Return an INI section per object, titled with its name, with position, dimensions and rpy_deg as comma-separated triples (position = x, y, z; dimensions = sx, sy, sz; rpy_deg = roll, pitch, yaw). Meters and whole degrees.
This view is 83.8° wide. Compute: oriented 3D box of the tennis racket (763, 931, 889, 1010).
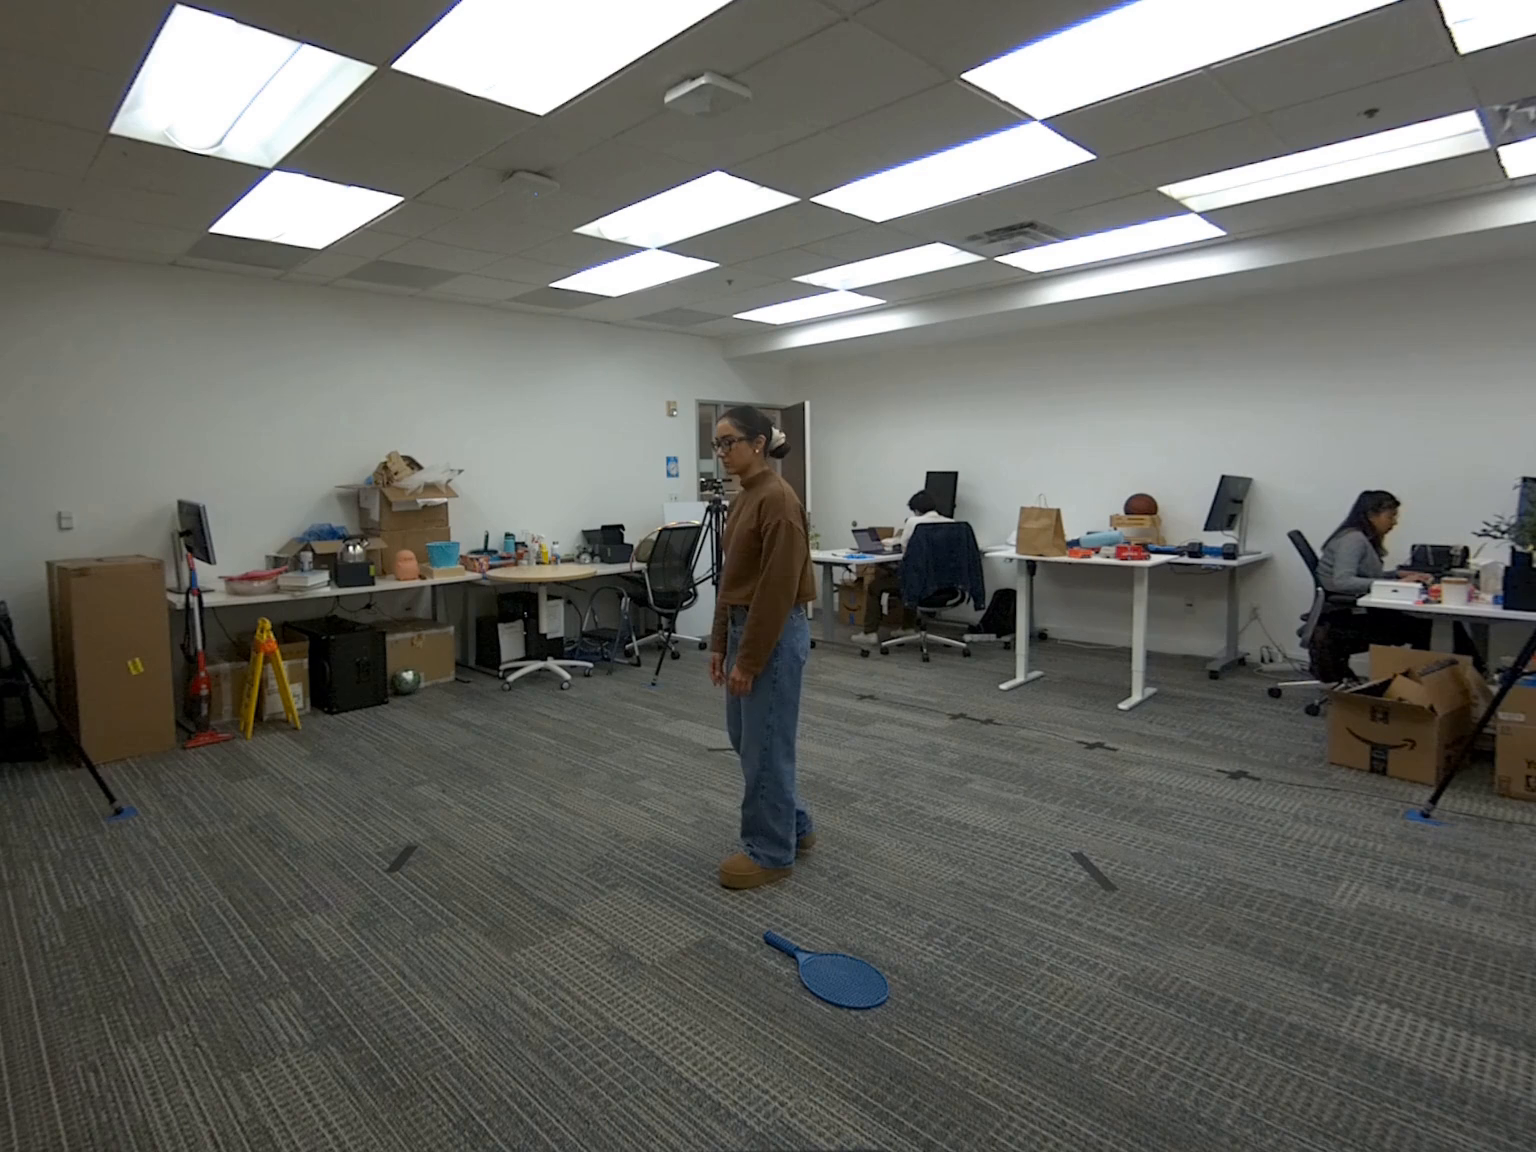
[tennis racket]
position = 0.159, 1.107, 2.426
dimensions = 0.208, 0.031, 0.447
rpy_deg = -6, 9, -41
